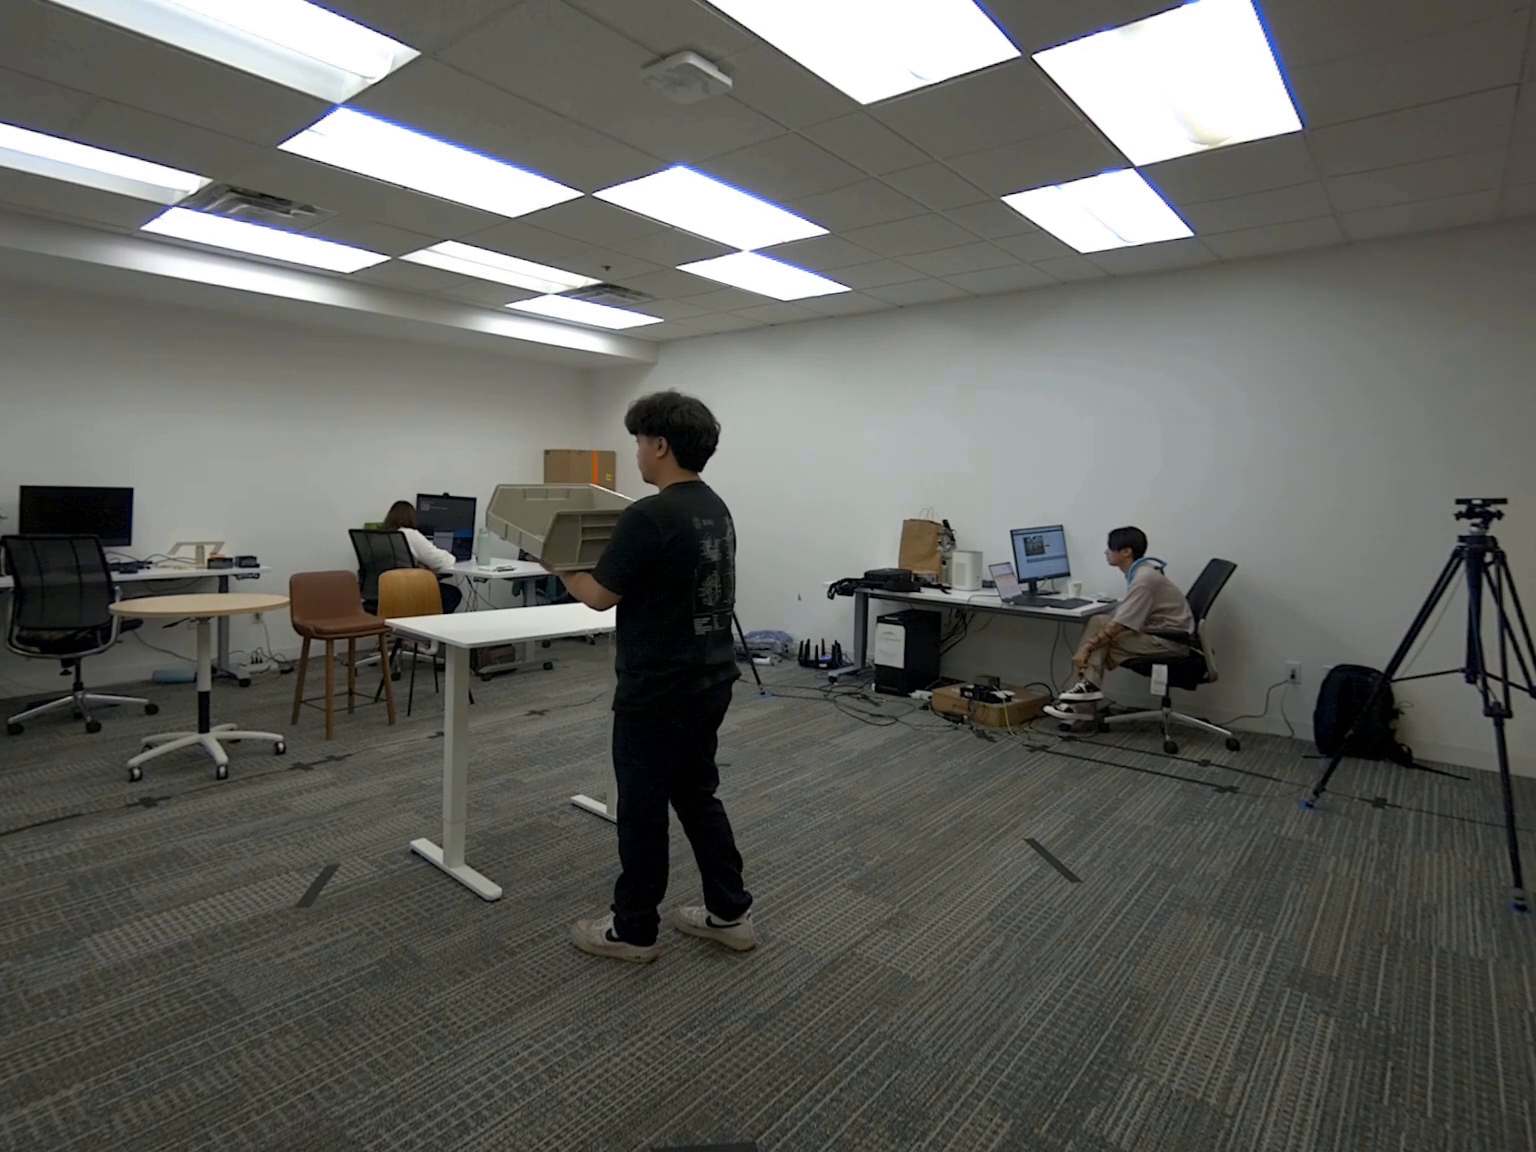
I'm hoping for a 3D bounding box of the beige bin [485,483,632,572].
[{"bbox_3d":[-0.638,-0.159,2.658,0.366,0.187,0.439,-3,16,-39],"label":"beige bin"}]
